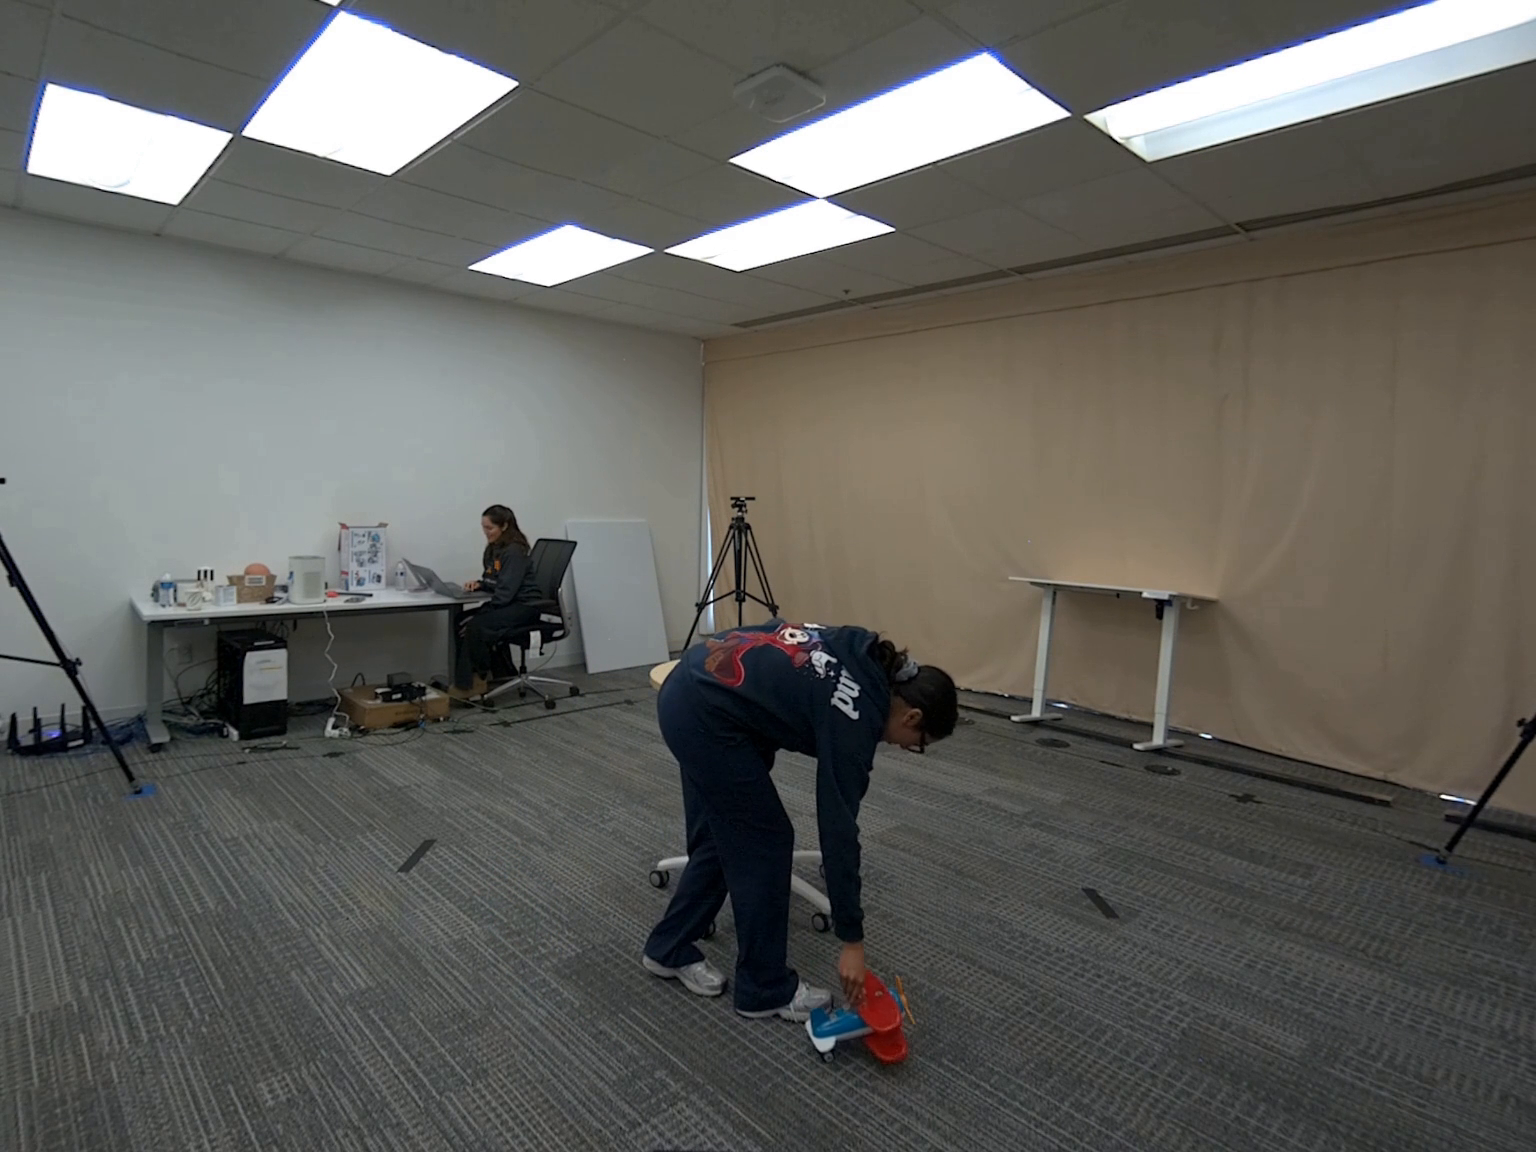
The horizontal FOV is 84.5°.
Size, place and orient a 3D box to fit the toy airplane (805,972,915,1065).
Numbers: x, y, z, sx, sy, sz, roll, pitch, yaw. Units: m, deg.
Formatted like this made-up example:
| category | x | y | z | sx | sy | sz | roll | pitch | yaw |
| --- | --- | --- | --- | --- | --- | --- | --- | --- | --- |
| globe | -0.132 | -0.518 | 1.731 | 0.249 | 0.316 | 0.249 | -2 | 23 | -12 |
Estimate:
| category | x | y | z | sx | sy | sz | roll | pitch | yaw |
| --- | --- | --- | --- | --- | --- | --- | --- | --- | --- |
| toy airplane | 0.232 | 1.137 | 2.113 | 0.253 | 0.156 | 0.258 | -3 | 7 | -43 |
